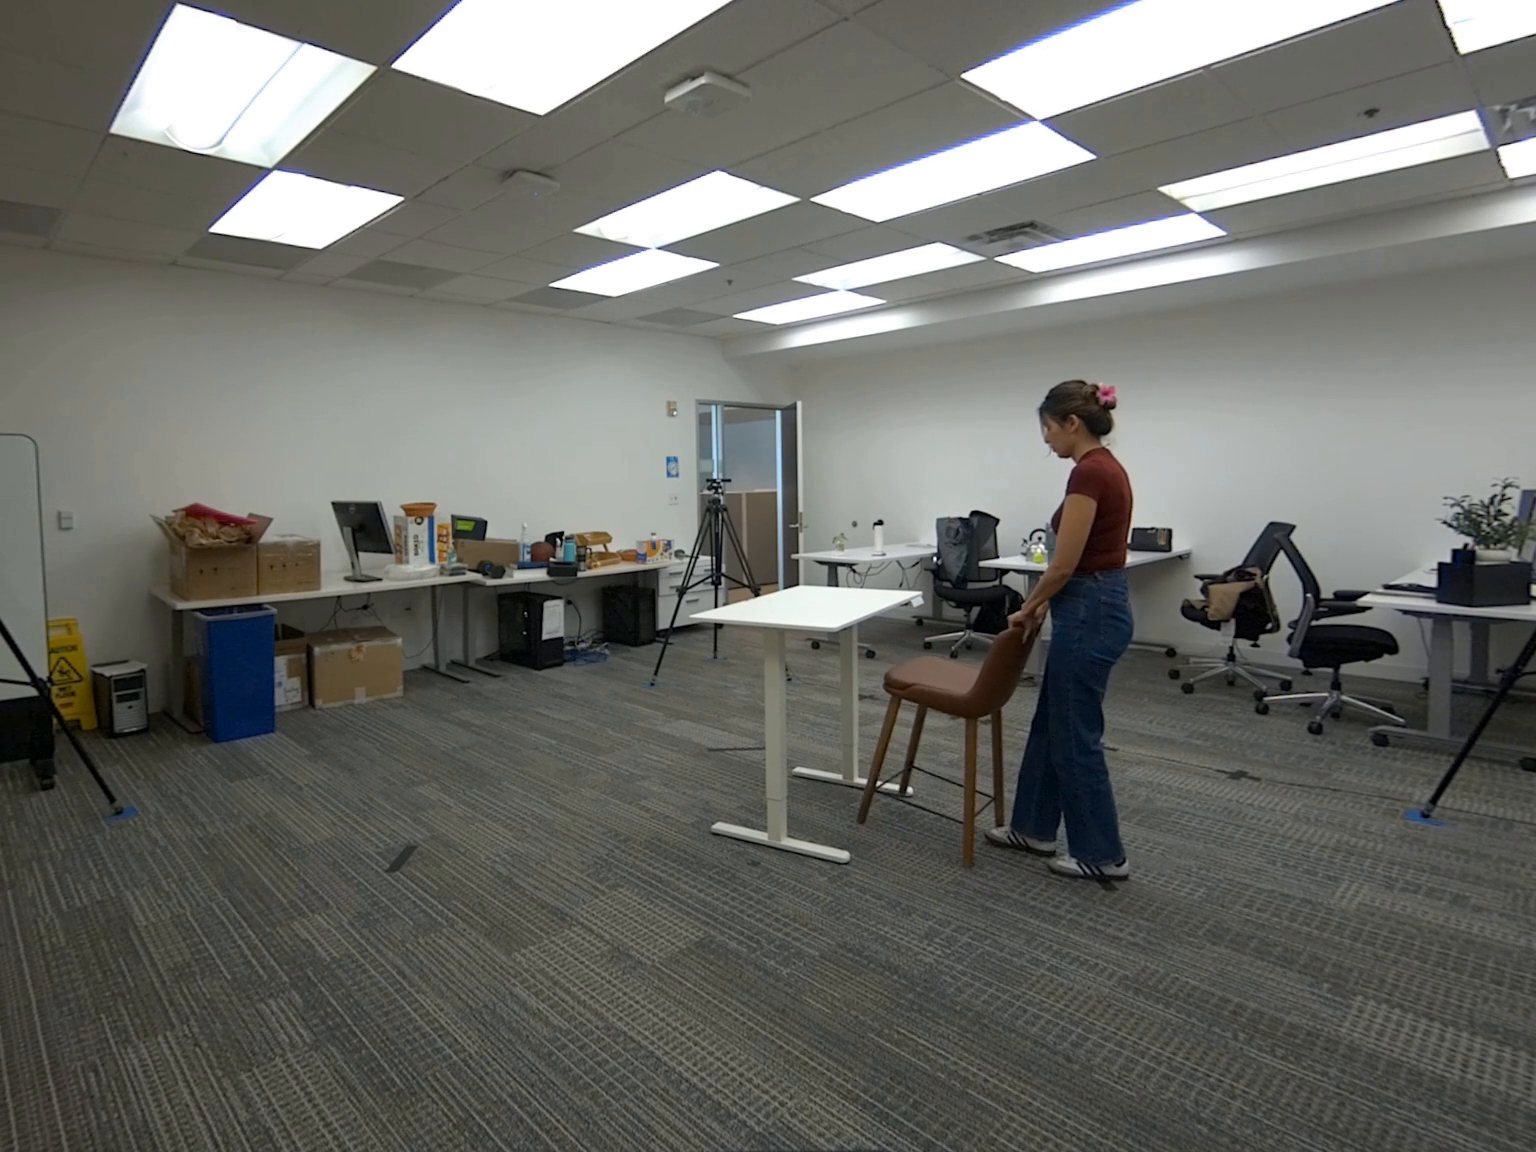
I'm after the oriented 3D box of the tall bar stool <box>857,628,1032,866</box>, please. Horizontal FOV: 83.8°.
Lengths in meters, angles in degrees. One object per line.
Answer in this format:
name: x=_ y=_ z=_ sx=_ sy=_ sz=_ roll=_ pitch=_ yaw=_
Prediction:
tall bar stool: x=0.691 y=0.552 z=3.252 sx=0.483 sy=0.883 sz=0.445 roll=15 pitch=12 yaw=35
